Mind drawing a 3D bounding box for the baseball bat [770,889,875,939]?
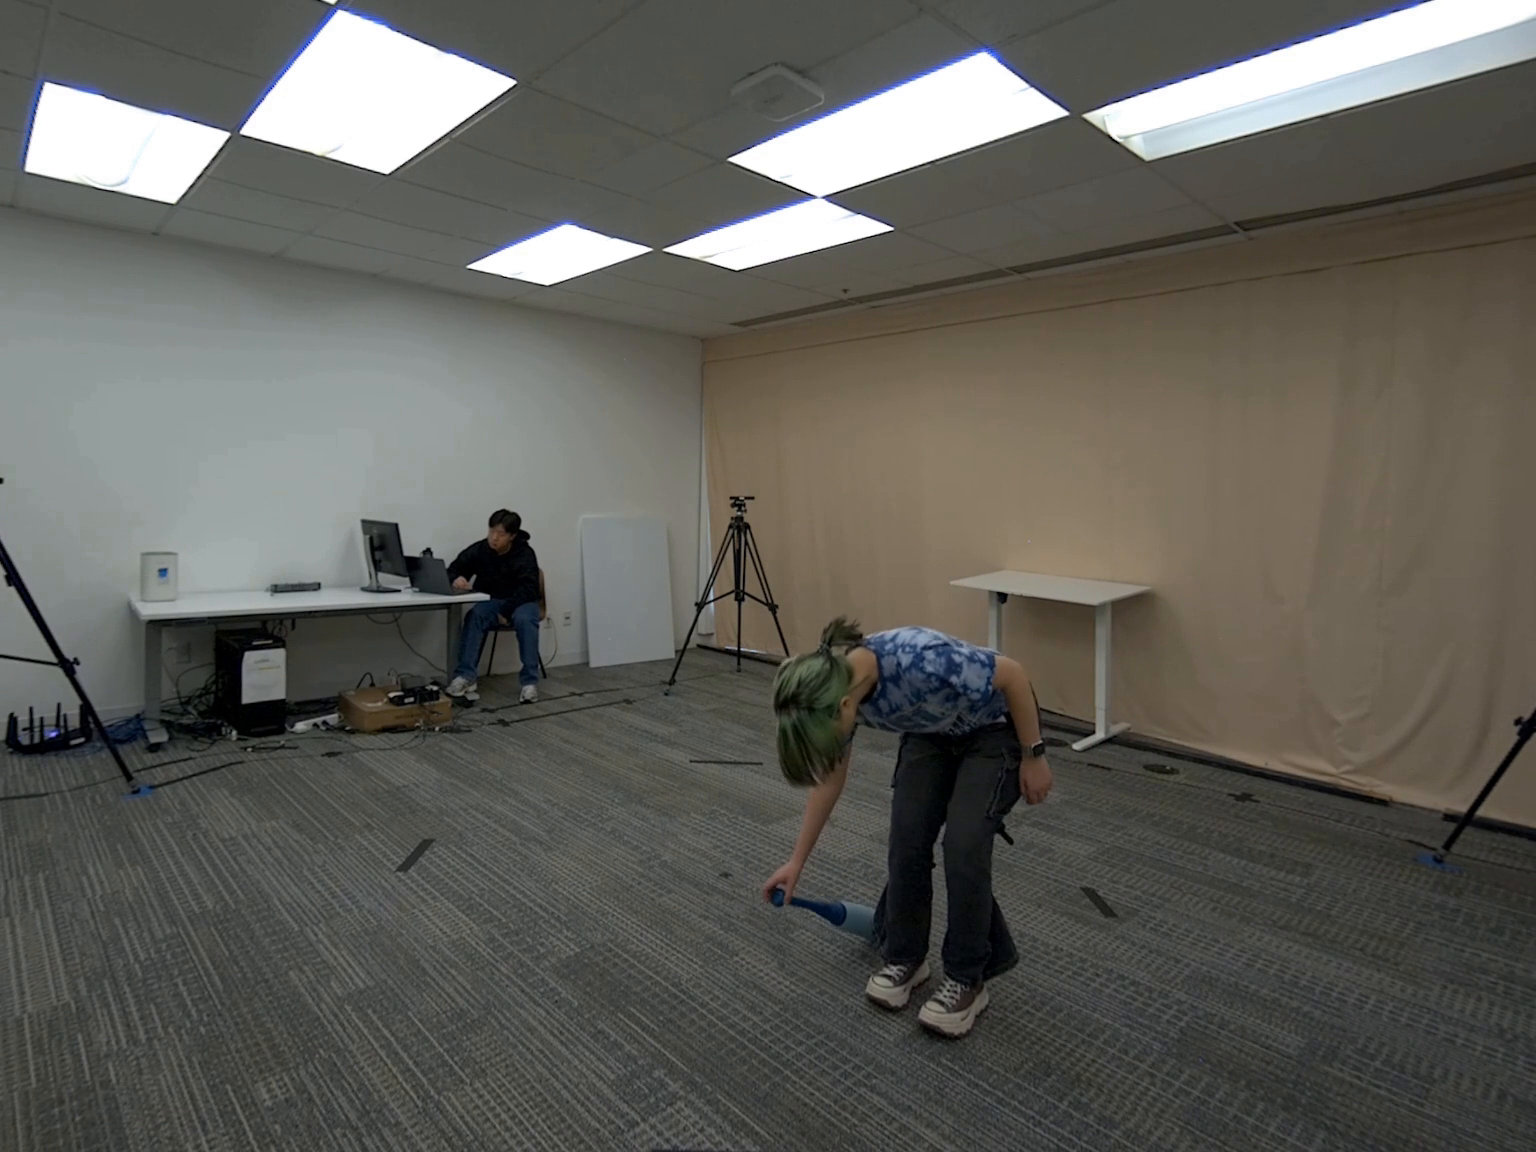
[{"bbox_3d":[0.195,1.013,2.522,0.526,0.089,0.091,32,-17,-38],"label":"baseball bat"}]
